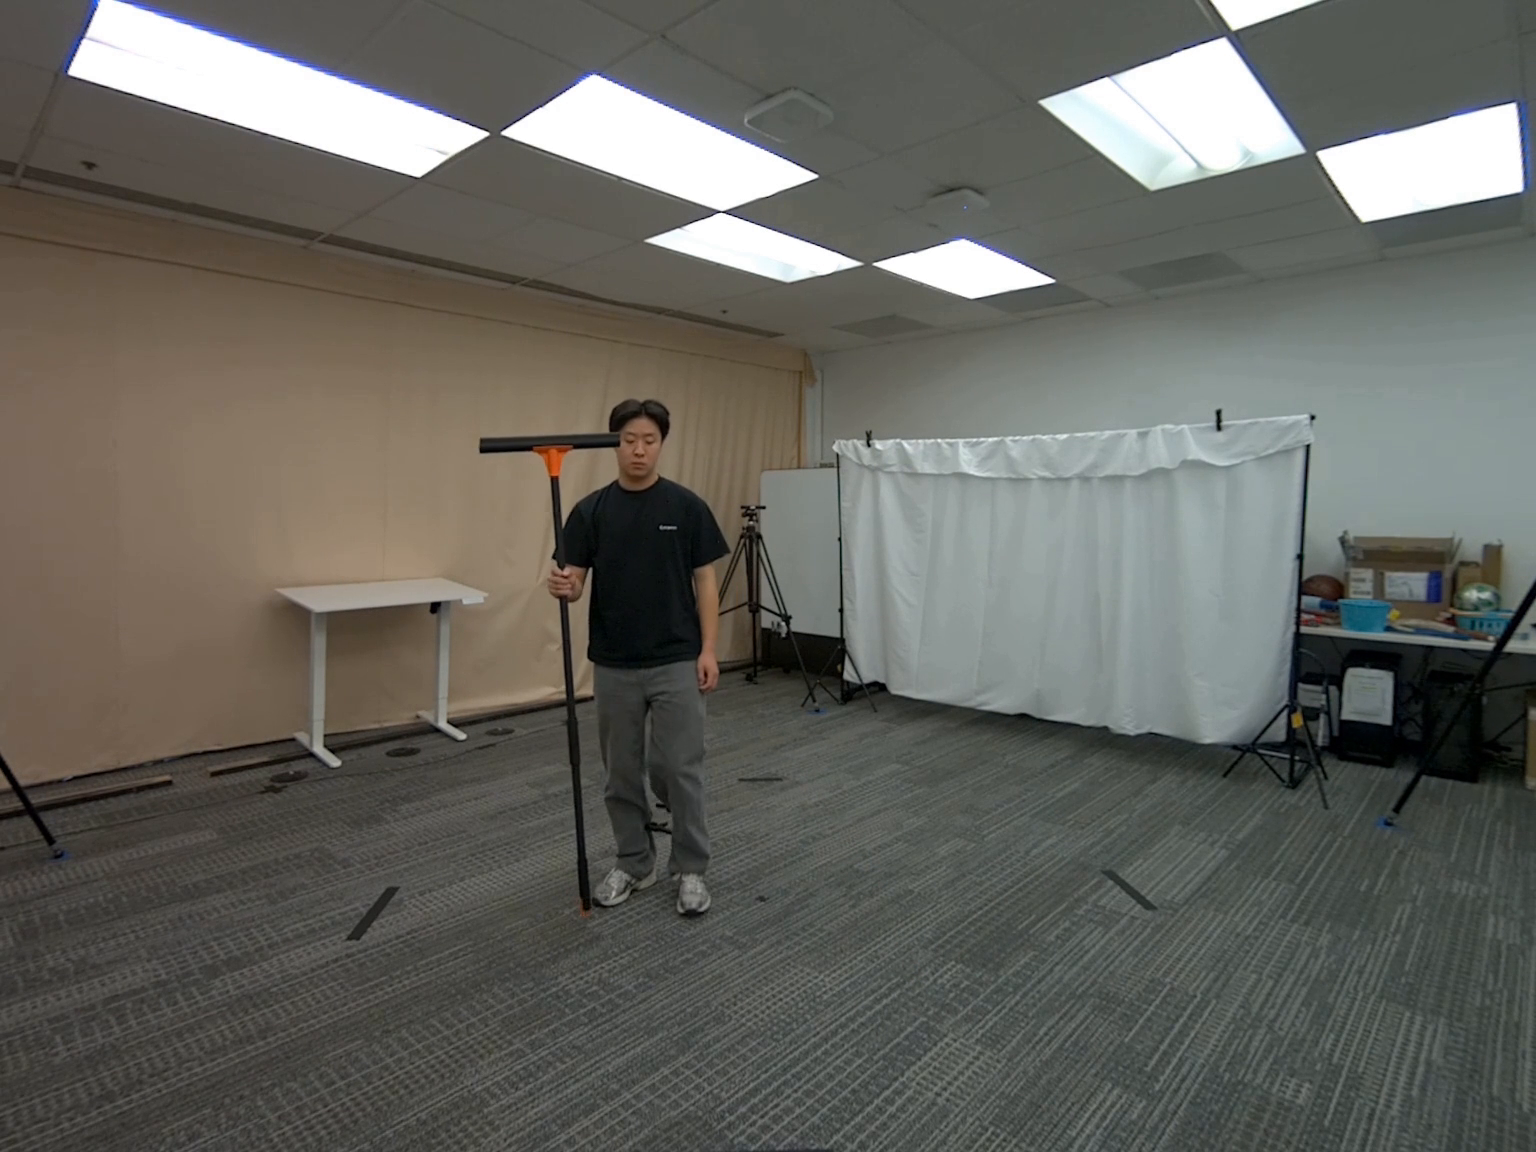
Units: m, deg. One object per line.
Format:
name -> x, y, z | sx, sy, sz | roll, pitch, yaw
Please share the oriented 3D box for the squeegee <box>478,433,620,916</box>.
squeegee -> -0.620, 0.336, 2.652 | 0.431, 1.531, 0.054 | -4, 6, -14
